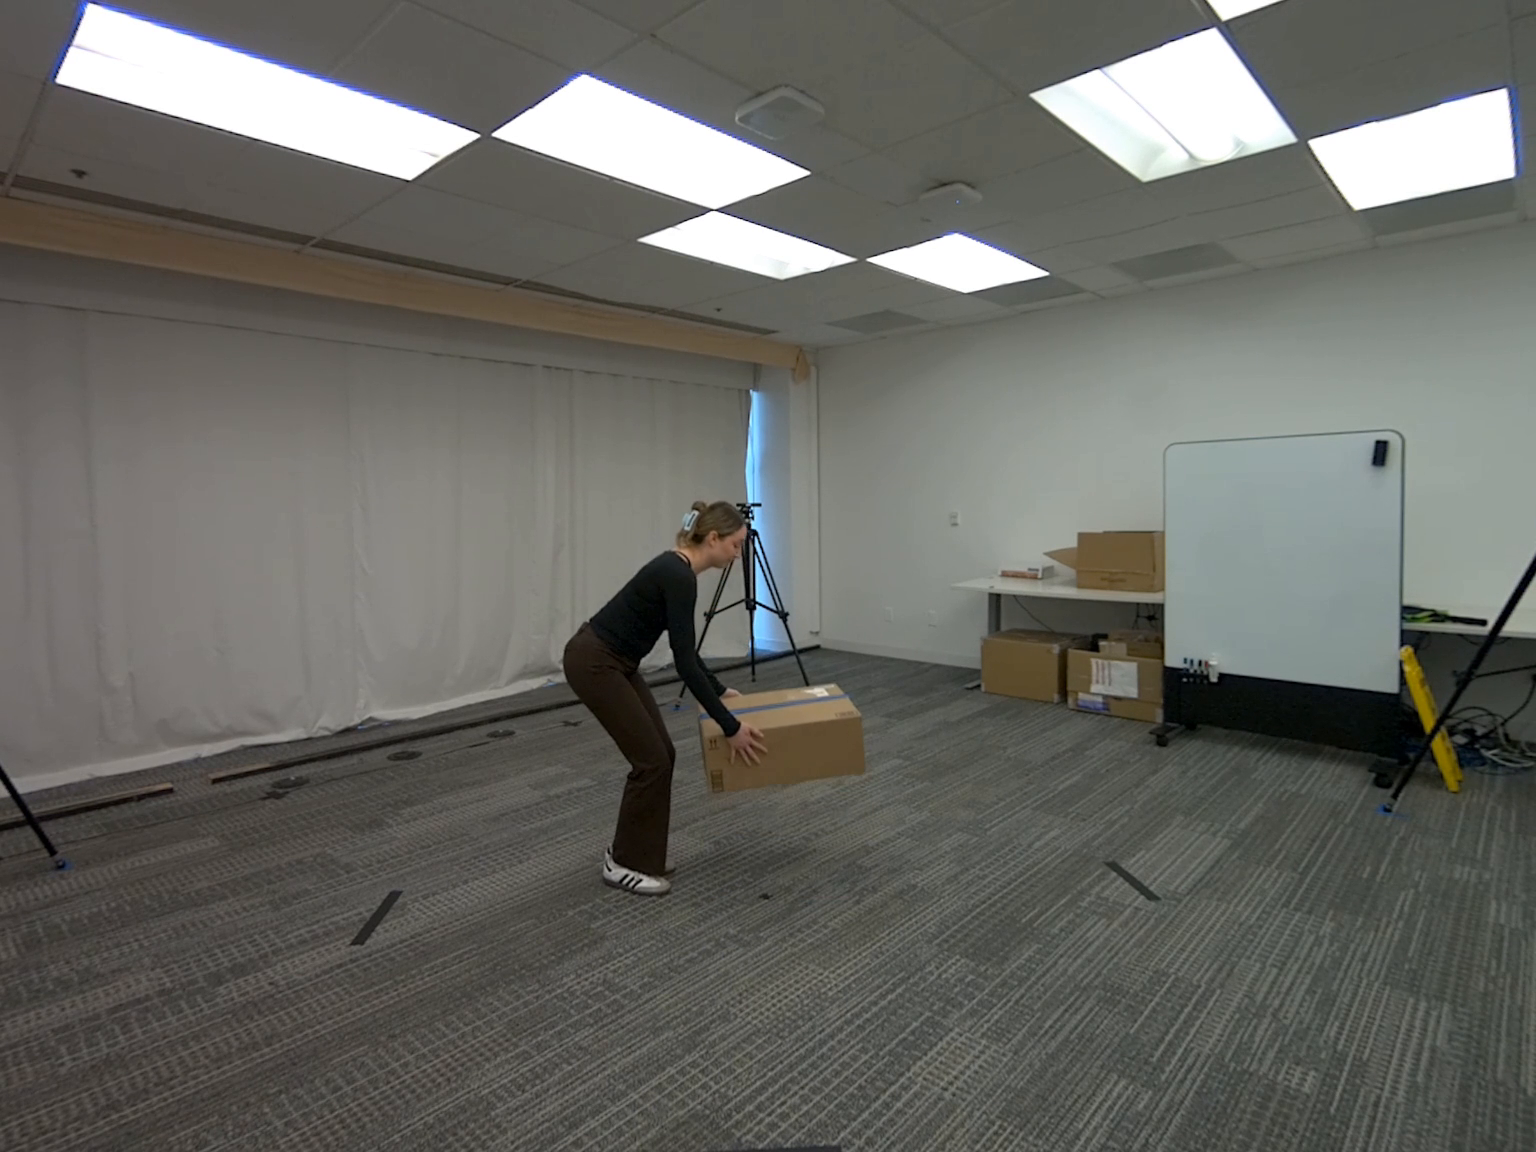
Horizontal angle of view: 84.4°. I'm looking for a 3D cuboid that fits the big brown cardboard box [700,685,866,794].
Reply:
[{"bbox_3d":[0.038,0.597,3.151,0.586,0.232,0.422,-7,9,-6],"label":"big brown cardboard box"}]
